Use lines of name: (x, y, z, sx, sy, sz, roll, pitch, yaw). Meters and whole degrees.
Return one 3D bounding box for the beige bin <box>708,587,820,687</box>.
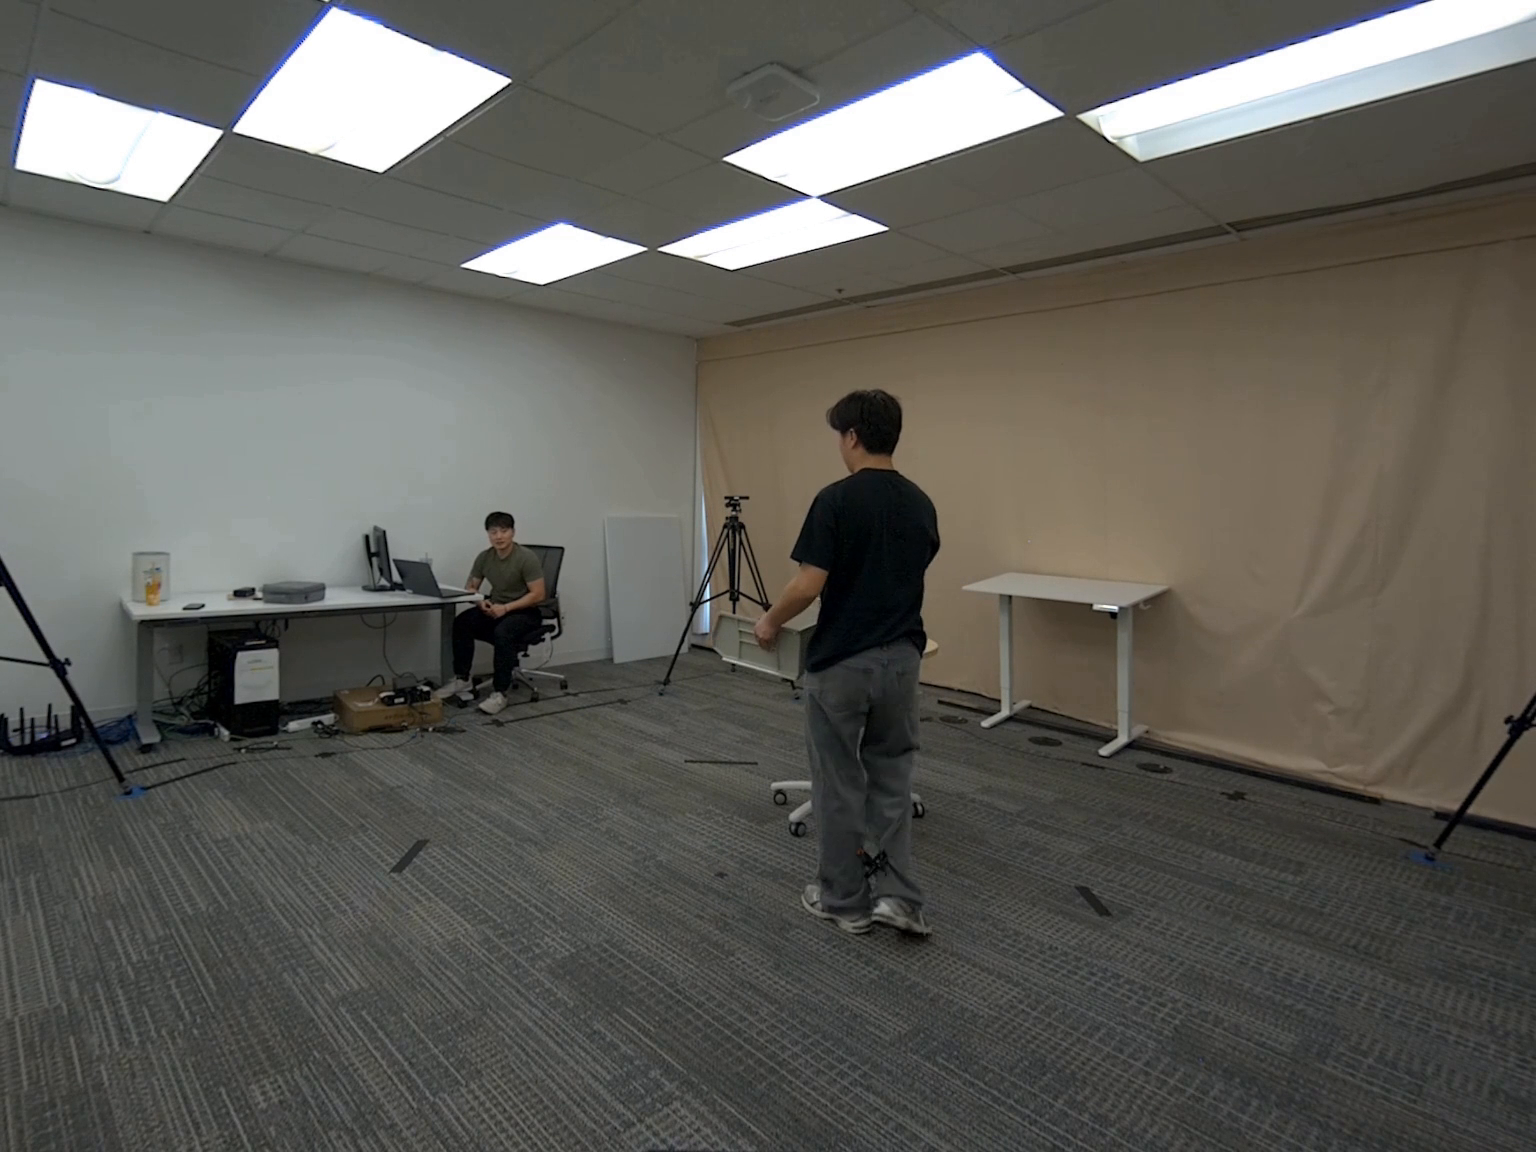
beige bin: (0.068, 0.201, 3.029, 0.387, 0.187, 0.415, 12, 16, 34)
